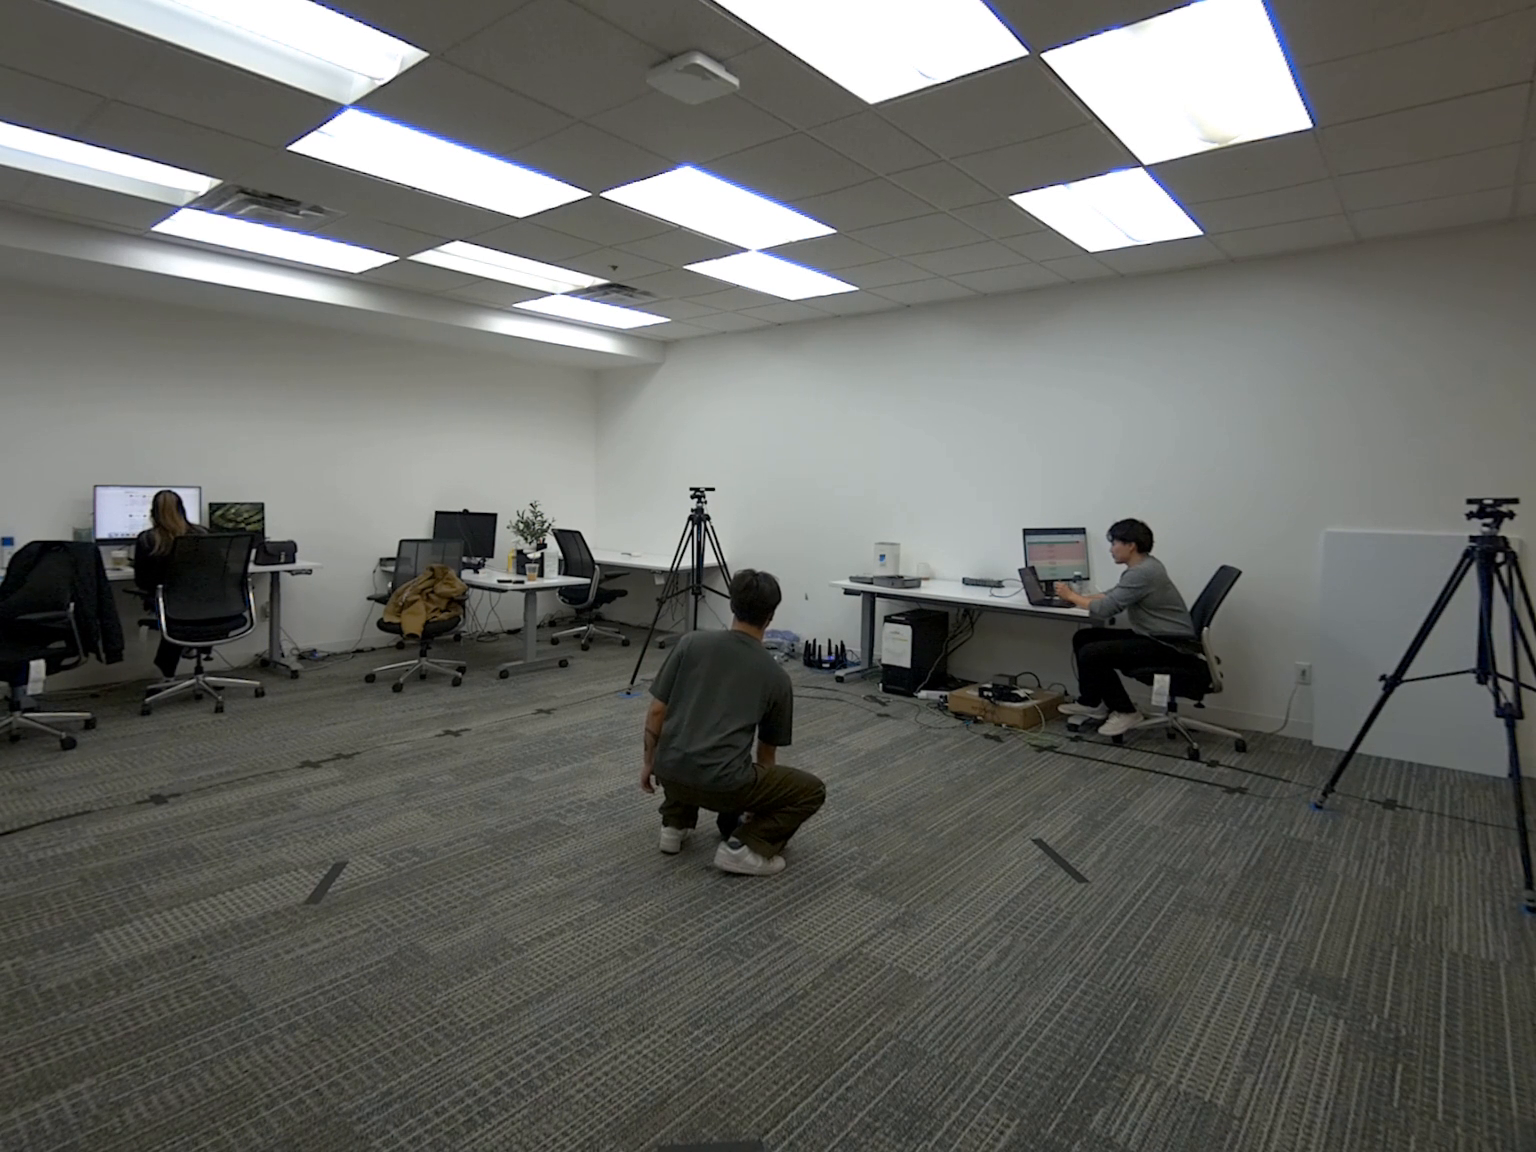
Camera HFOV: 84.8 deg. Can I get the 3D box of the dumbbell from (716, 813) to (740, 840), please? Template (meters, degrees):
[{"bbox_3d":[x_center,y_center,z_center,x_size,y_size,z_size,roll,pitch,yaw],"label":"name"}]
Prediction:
[{"bbox_3d":[-0.062,0.984,3.364,0.303,0.124,0.104,4,-25,36],"label":"dumbbell"}]
